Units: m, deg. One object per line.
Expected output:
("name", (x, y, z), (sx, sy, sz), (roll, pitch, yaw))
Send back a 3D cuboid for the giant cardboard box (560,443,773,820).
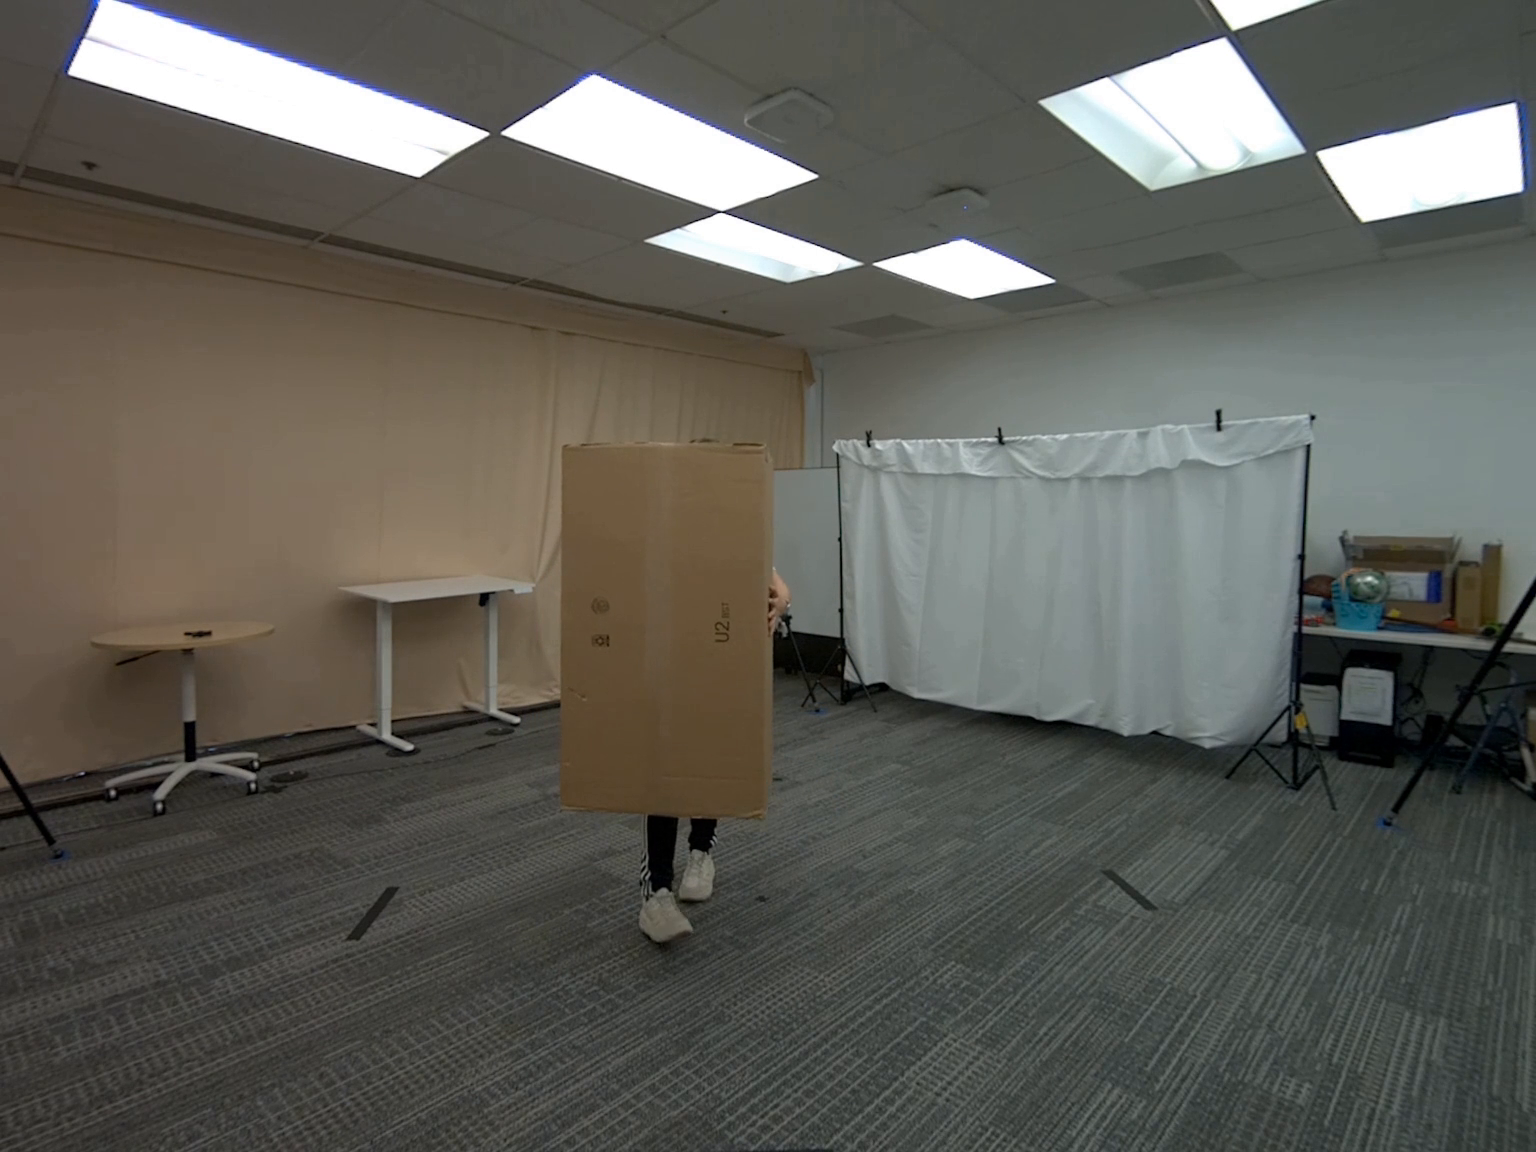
("giant cardboard box", (-0.278, 0.147, 2.511), (0.588, 1.027, 0.444), (0, 0, 5))
